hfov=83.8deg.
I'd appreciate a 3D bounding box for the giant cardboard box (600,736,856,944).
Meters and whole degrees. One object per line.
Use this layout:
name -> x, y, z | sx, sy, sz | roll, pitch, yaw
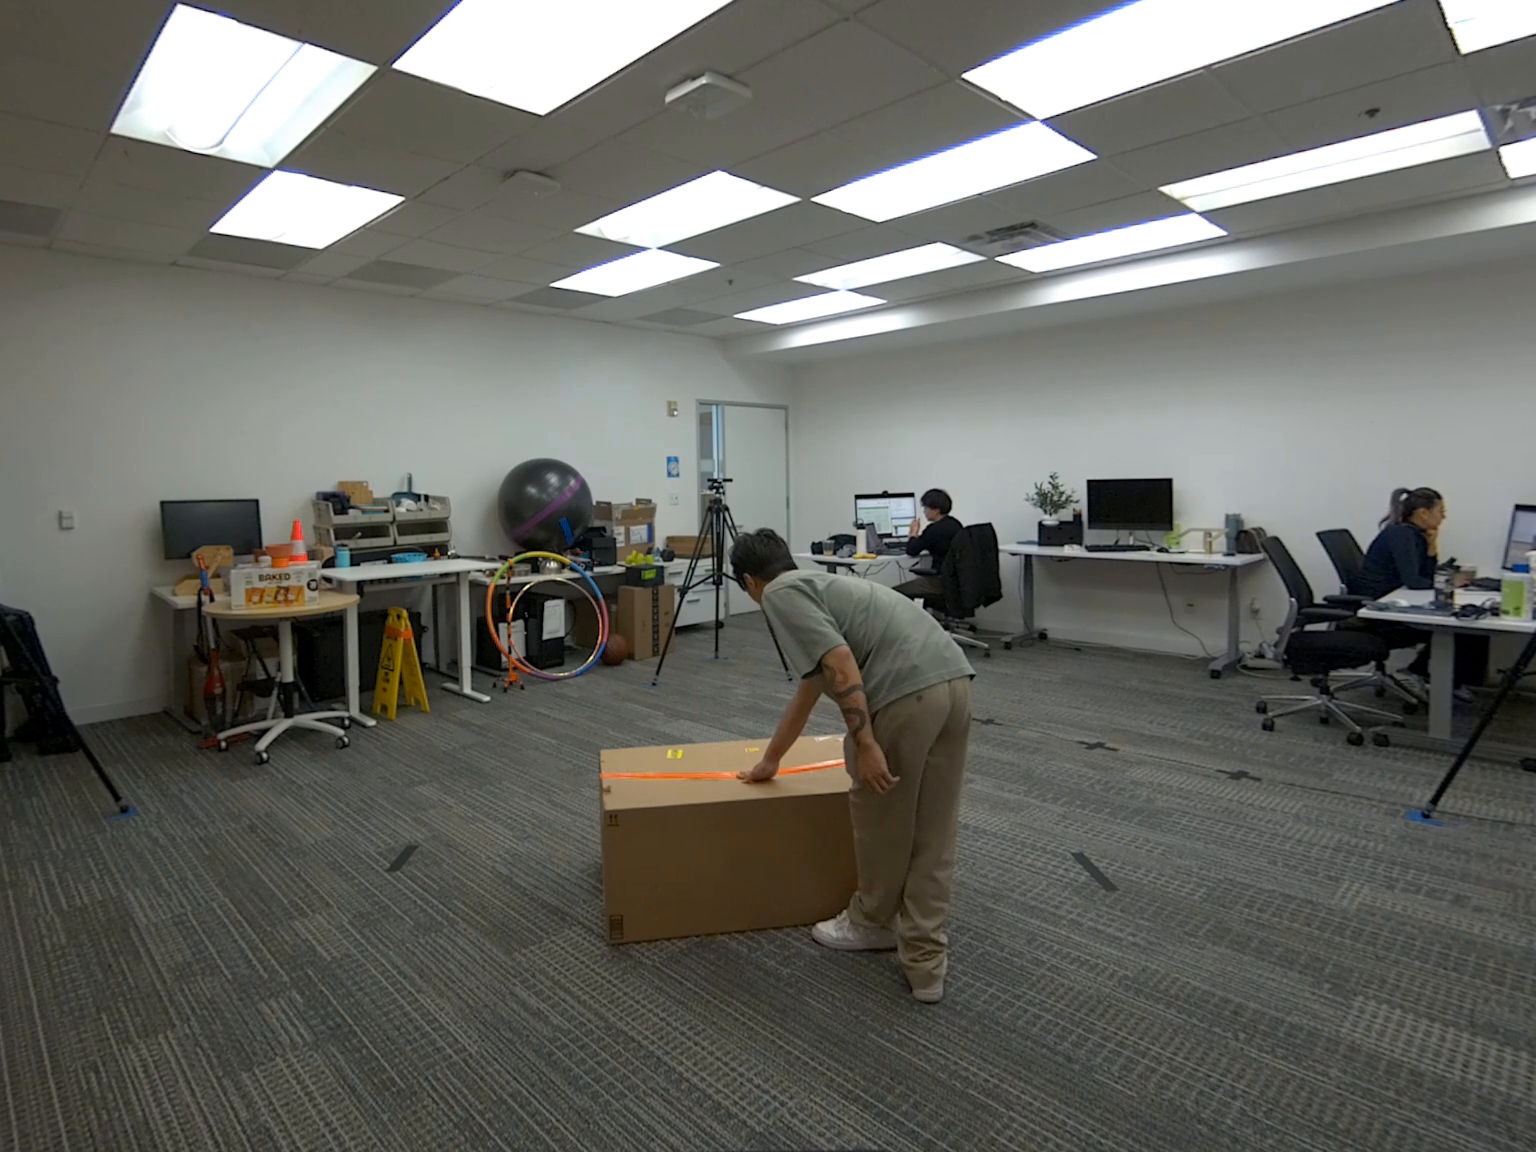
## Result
giant cardboard box -> -0.055, 0.855, 2.919 | 1.016, 0.424, 0.585 | -2, 5, -10
